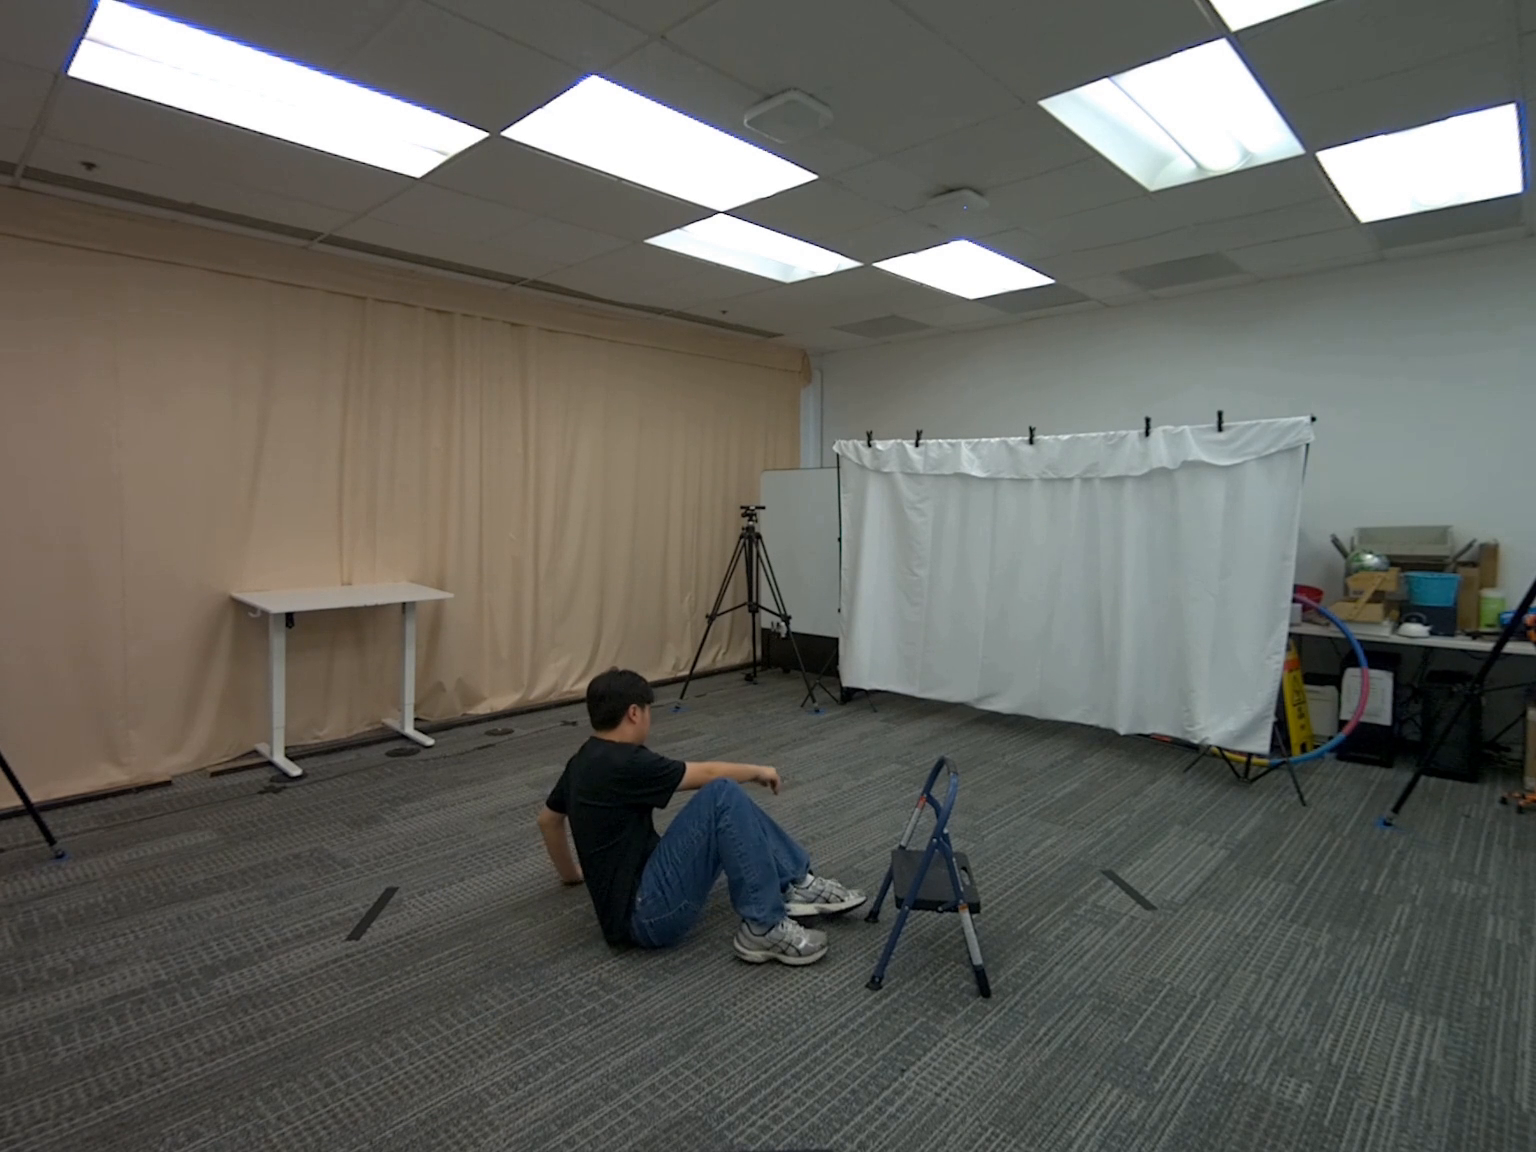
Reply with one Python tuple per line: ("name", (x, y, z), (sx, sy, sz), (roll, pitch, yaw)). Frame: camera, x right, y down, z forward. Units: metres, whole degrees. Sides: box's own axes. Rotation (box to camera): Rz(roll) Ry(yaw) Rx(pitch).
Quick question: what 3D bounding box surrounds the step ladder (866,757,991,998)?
("step ladder", (0.491, 0.877, 2.583), (0.352, 0.604, 0.428), (-1, 4, 7))
